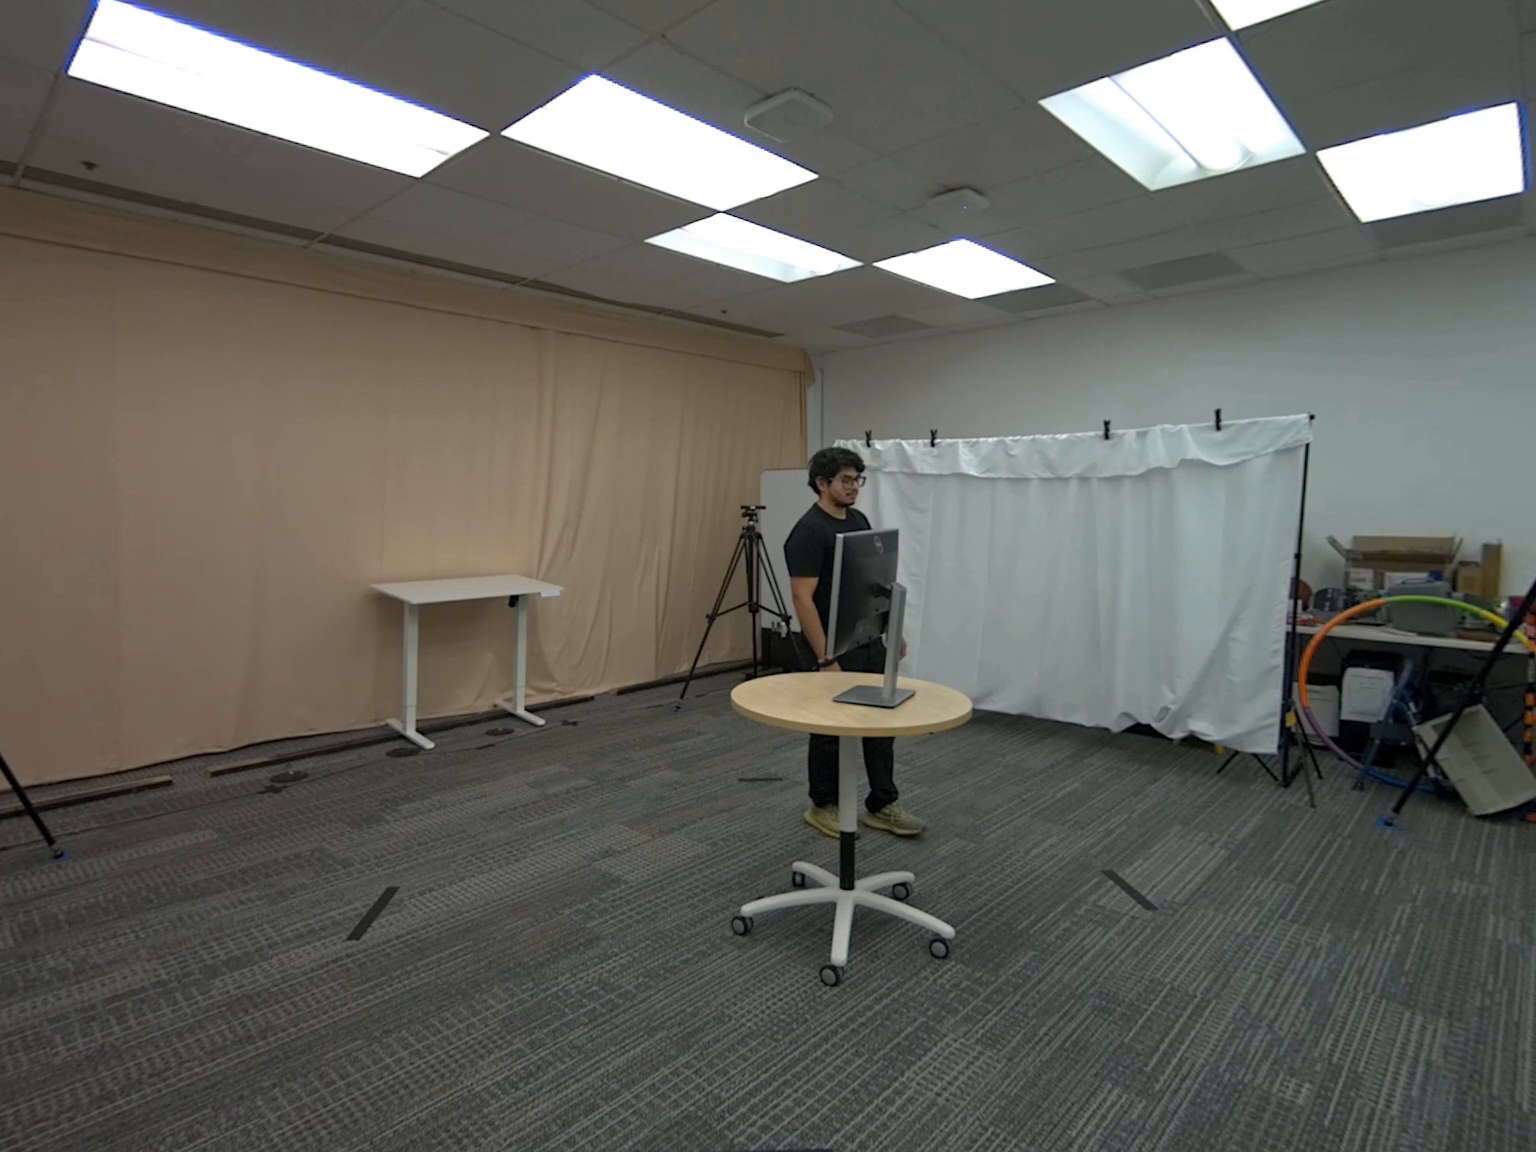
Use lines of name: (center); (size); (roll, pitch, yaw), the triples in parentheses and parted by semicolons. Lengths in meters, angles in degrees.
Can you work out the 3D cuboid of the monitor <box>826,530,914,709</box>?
monitor: (0.366, 0.129, 2.672); (0.216, 0.552, 0.552); (4, 6, 26)
